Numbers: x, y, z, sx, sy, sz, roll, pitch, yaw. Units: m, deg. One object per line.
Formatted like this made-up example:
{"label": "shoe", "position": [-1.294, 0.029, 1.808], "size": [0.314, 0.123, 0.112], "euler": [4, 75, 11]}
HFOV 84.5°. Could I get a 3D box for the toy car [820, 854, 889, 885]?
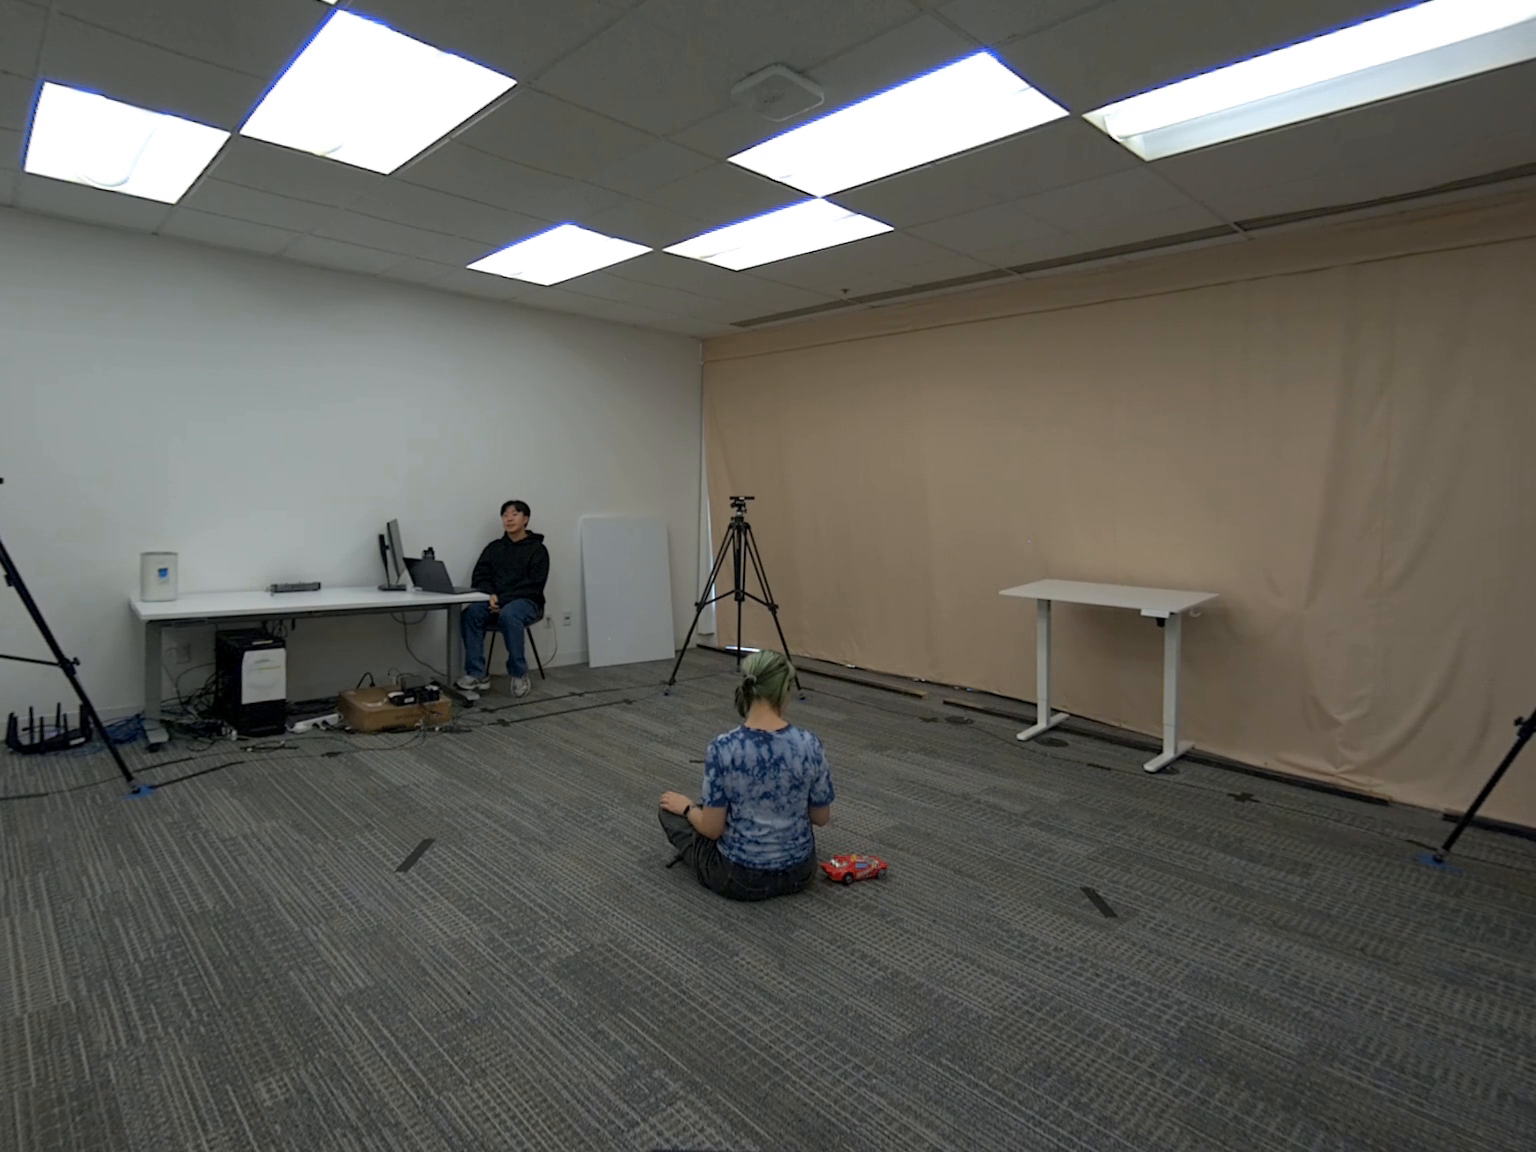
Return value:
{"label": "toy car", "position": [0.304, 1.079, 3.109], "size": [0.249, 0.083, 0.133], "euler": [12, 0, -24]}
